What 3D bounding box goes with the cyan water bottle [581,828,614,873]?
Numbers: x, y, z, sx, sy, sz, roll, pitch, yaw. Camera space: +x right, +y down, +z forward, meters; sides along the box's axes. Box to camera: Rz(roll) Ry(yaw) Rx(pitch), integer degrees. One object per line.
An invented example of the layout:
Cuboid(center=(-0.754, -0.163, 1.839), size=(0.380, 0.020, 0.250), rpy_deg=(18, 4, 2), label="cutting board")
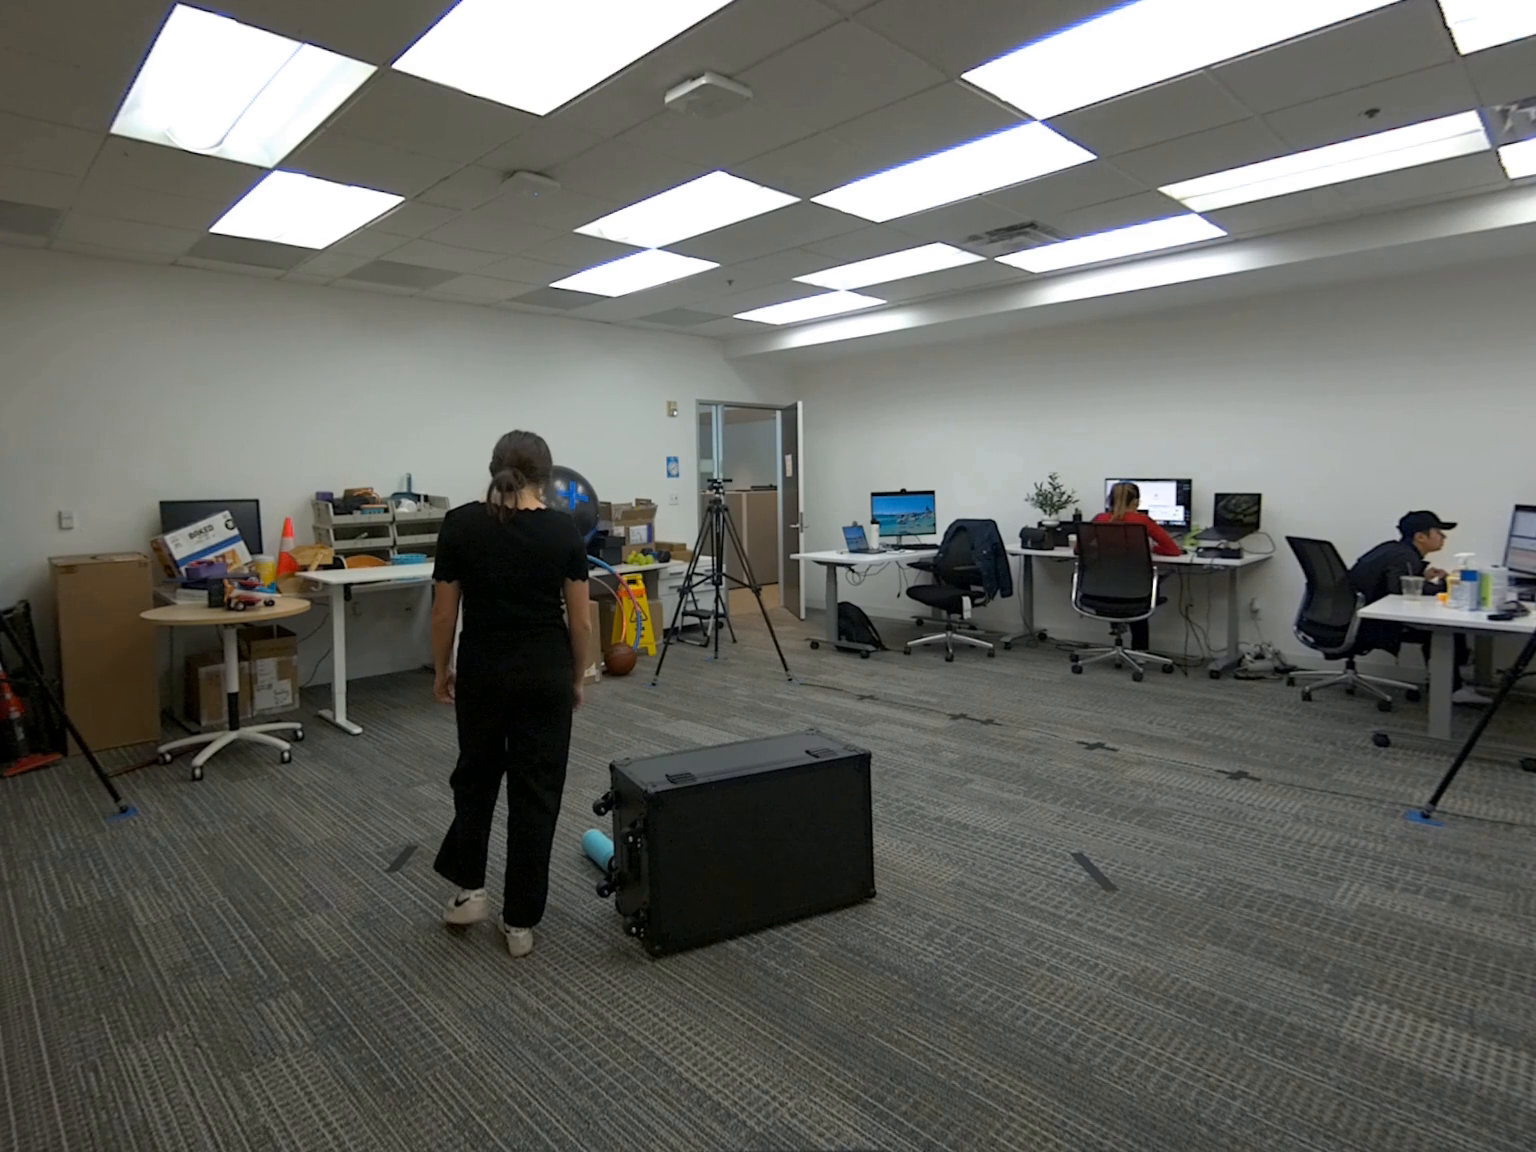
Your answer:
Cuboid(center=(-0.583, 1.007, 3.101), size=(0.090, 0.092, 0.291), rpy_deg=(-4, 6, -33), label="cyan water bottle")
